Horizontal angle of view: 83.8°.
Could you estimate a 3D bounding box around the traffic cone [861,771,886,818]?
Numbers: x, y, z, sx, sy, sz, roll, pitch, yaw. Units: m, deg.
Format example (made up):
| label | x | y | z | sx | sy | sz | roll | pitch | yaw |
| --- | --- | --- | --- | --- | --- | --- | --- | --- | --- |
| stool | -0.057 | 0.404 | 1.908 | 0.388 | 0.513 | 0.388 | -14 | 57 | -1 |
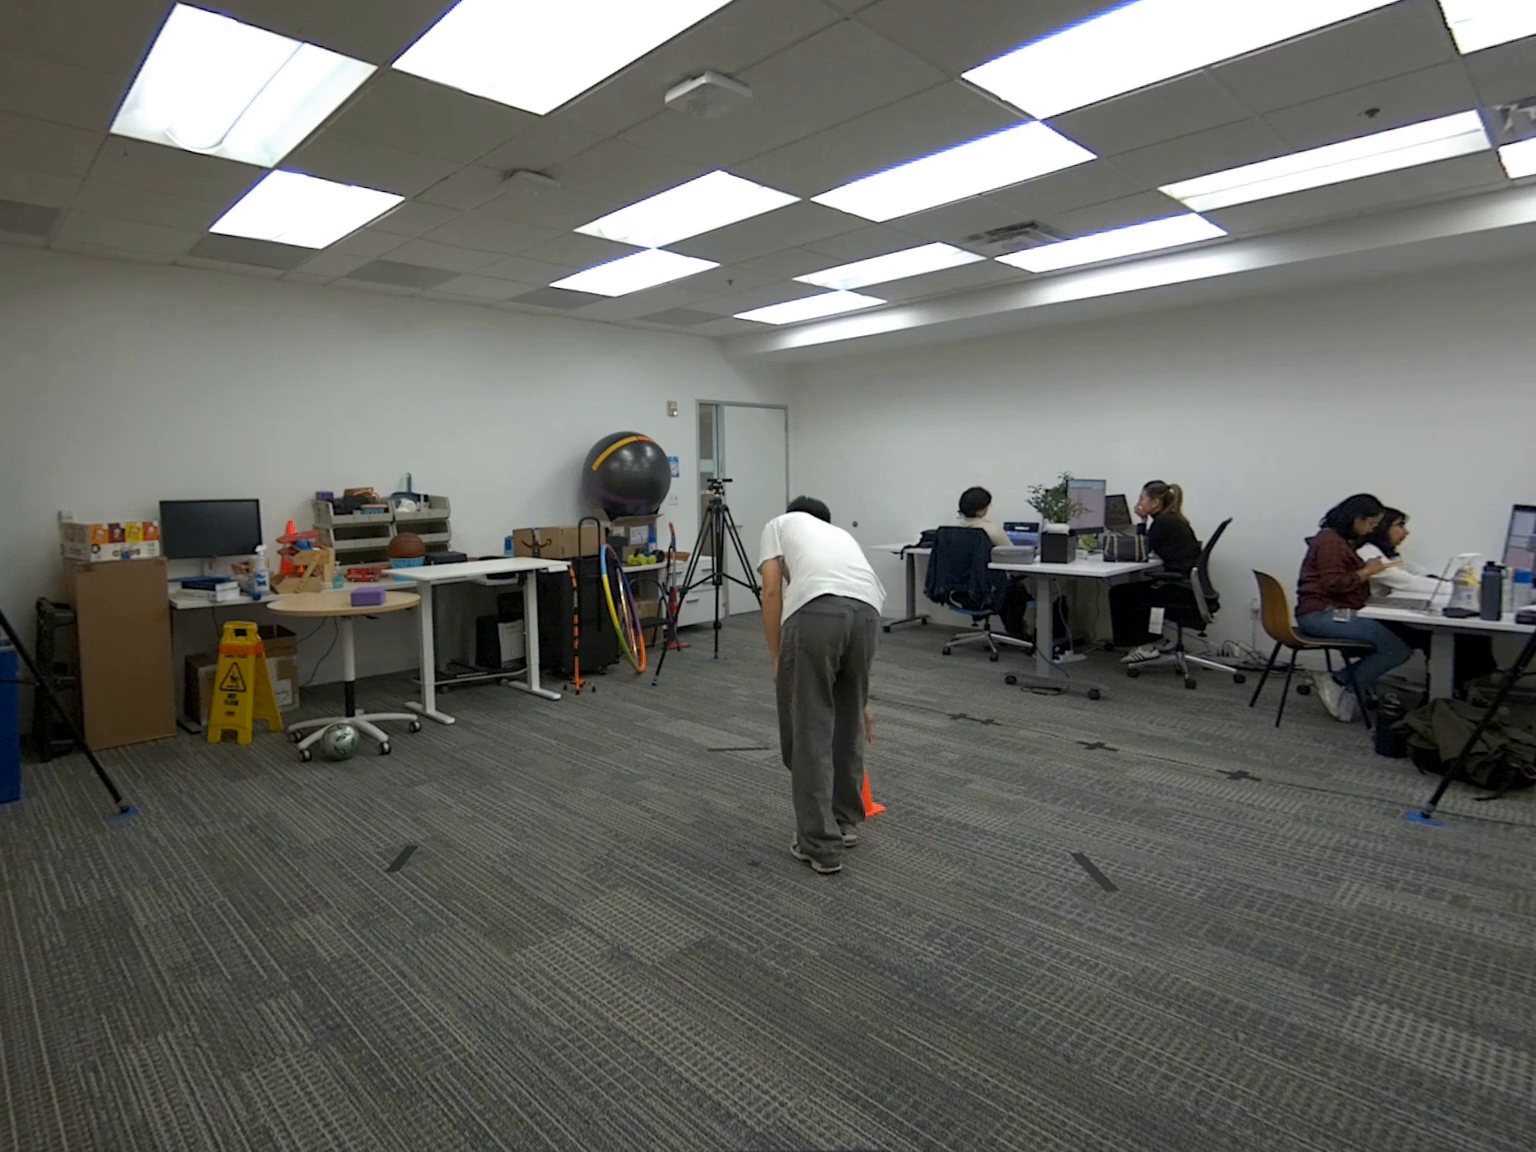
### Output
| label | x | y | z | sx | sy | sz | roll | pitch | yaw |
| --- | --- | --- | --- | --- | --- | --- | --- | --- | --- |
| traffic cone | 0.359 | 0.798 | 3.610 | 0.200 | 0.382 | 0.209 | -4 | 5 | -35 |
